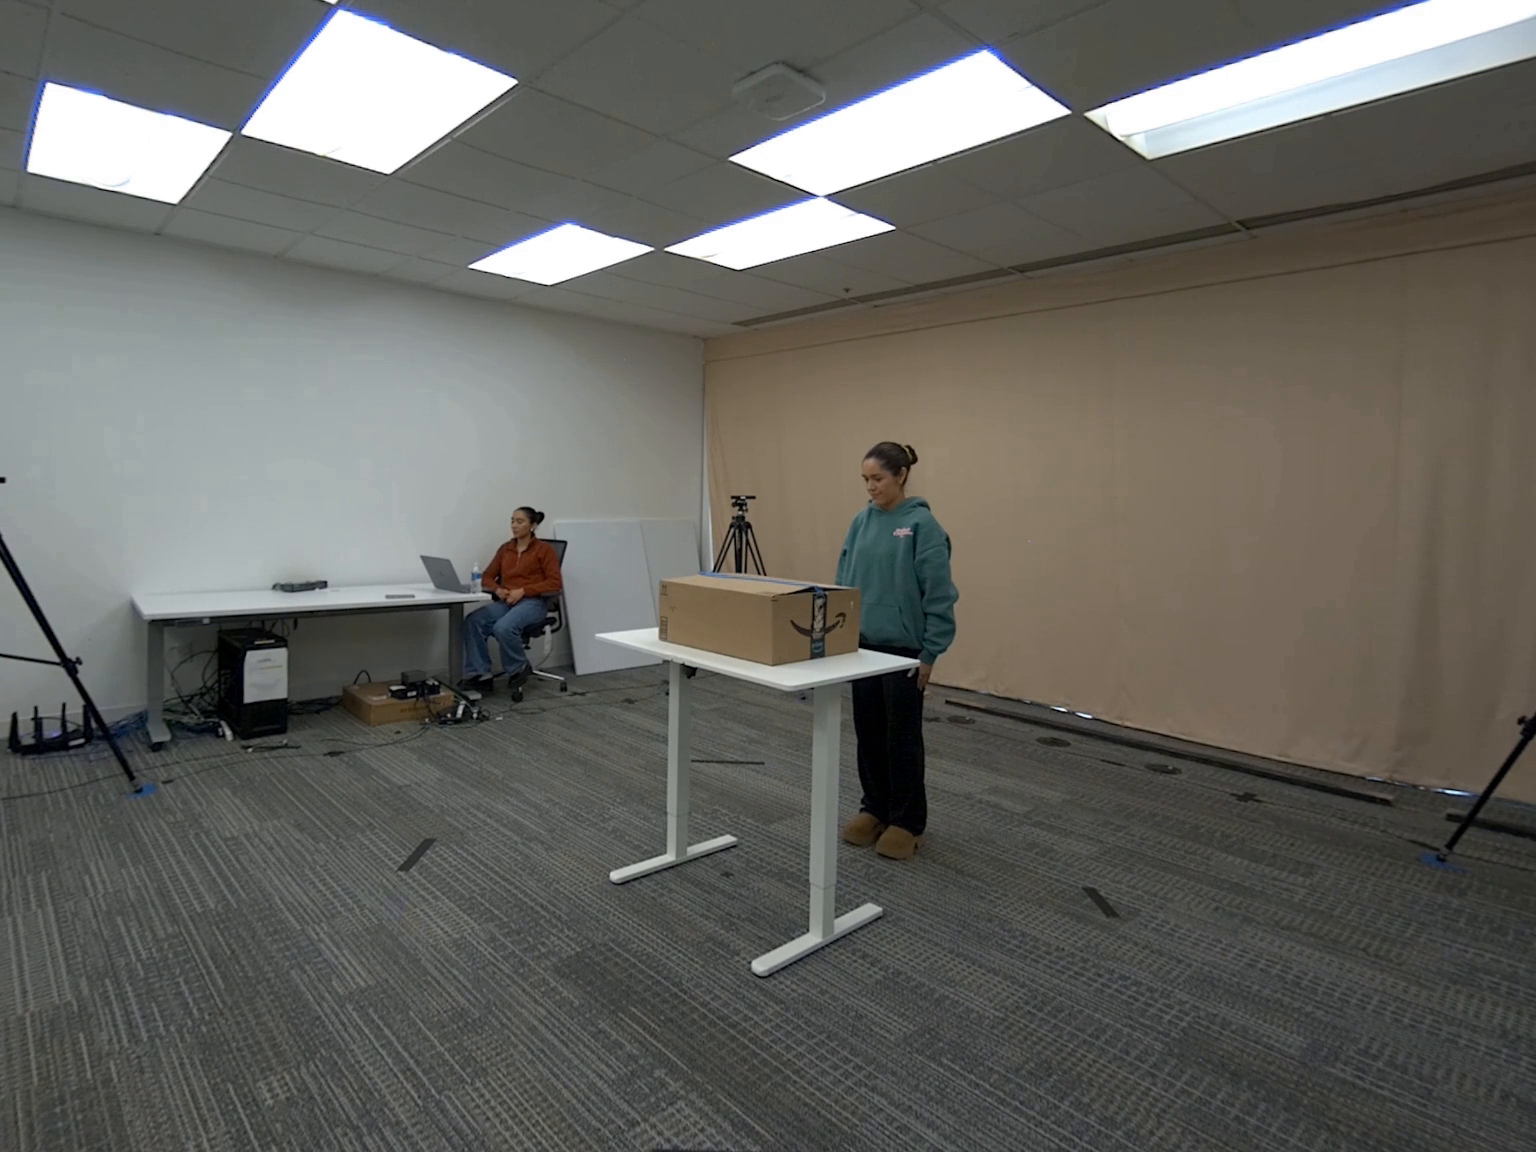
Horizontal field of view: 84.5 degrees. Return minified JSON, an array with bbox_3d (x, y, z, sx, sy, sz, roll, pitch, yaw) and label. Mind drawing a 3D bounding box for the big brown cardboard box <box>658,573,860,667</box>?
[{"bbox_3d":[-0.039,0.135,2.890,0.408,0.232,0.604,-4,7,-44],"label":"big brown cardboard box"}]
